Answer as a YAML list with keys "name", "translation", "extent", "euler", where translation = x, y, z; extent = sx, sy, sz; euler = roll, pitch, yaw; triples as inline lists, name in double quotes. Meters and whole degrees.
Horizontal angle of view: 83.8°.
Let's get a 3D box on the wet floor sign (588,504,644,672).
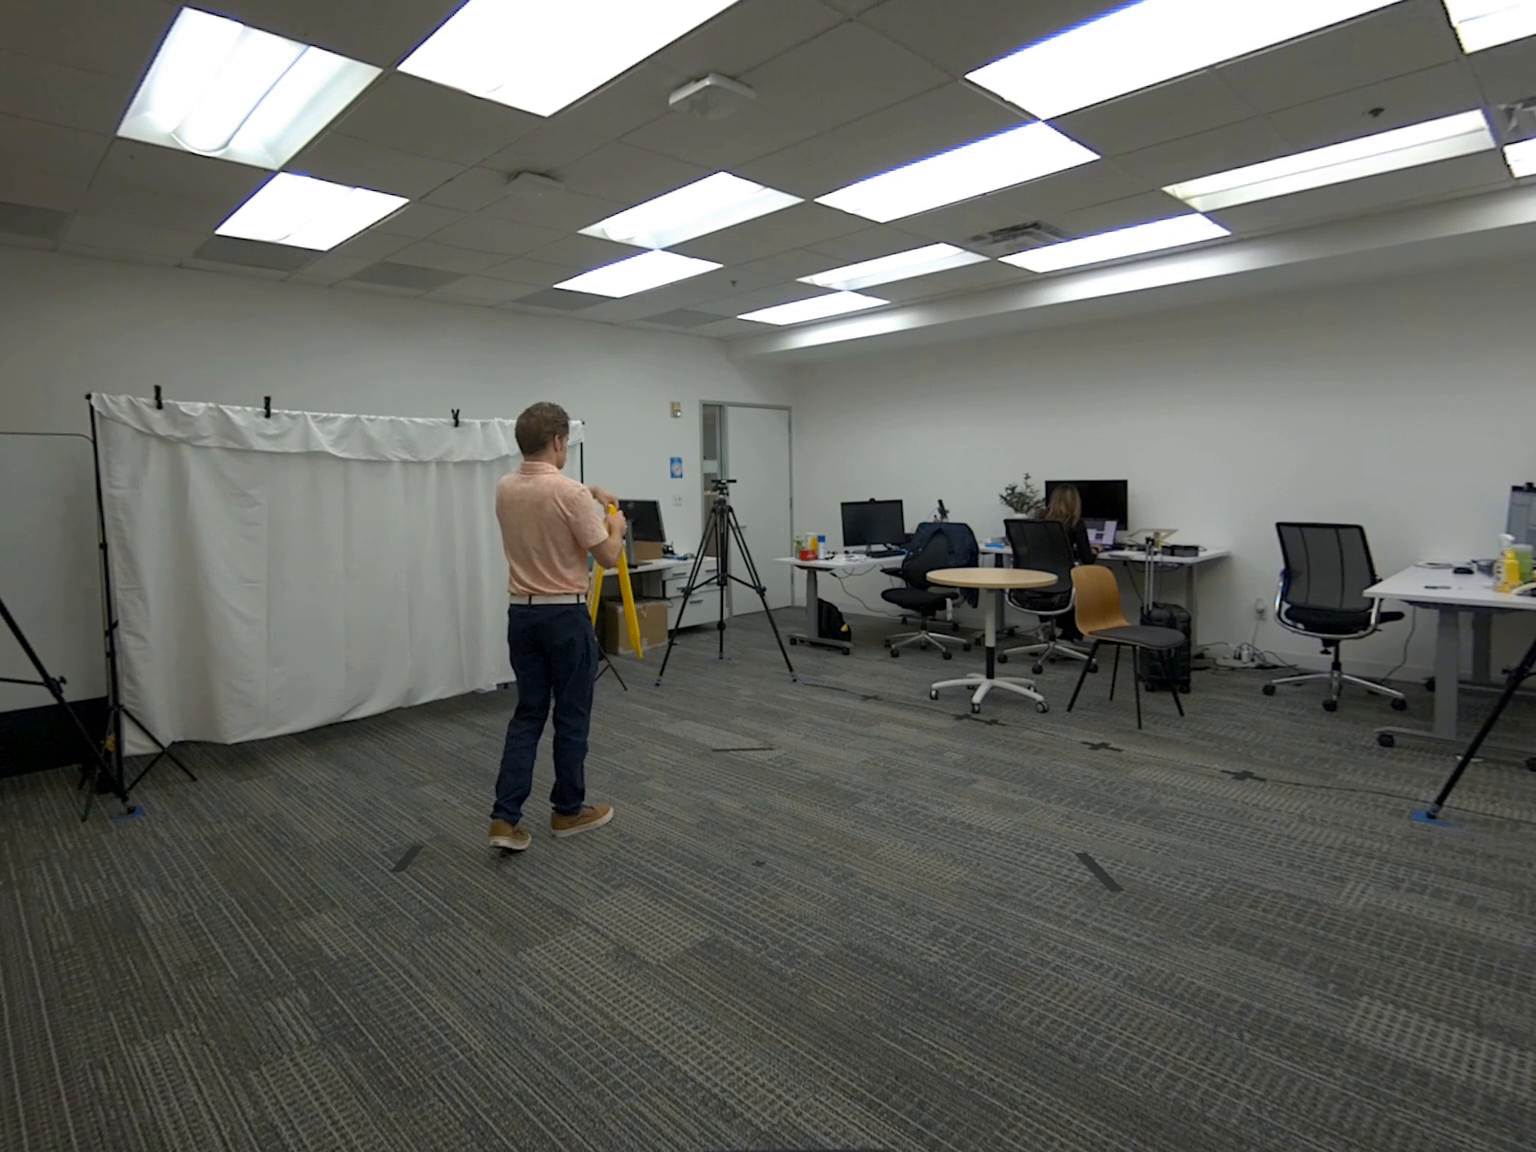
- name: "wet floor sign"
  translation: [-0.688, 0.020, 3.692]
  extent: [0.286, 0.644, 0.287]
  euler: [-1, 3, -14]
